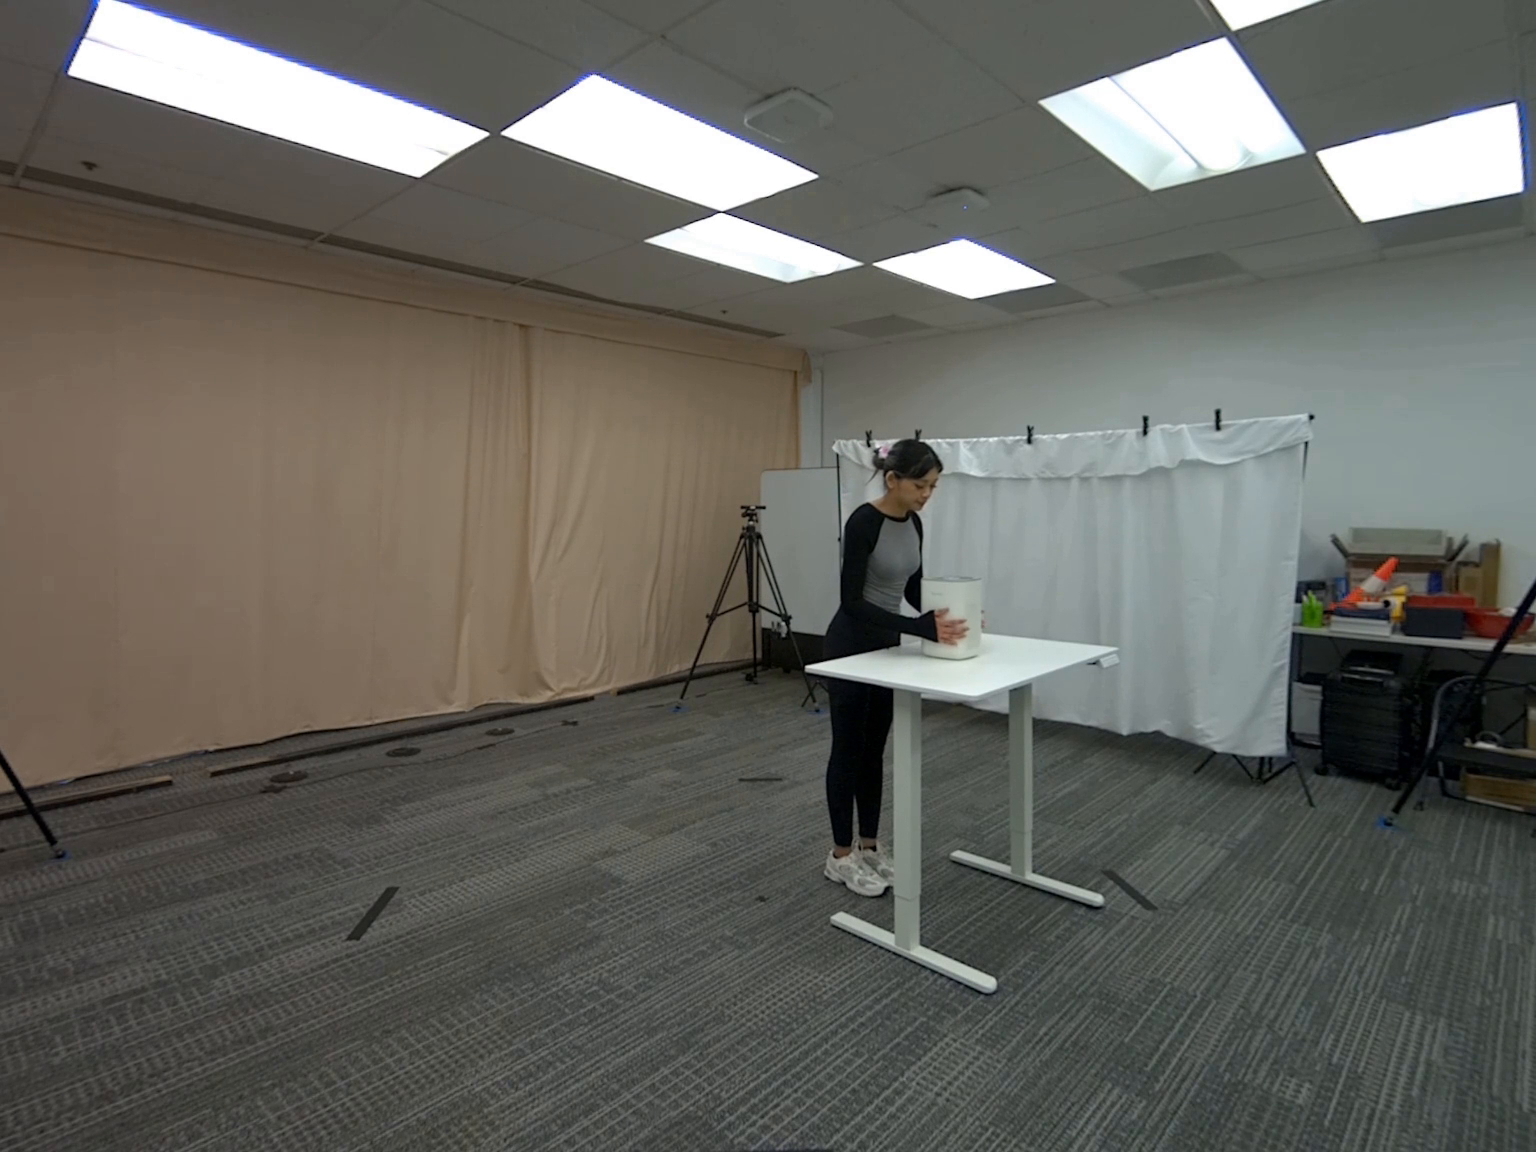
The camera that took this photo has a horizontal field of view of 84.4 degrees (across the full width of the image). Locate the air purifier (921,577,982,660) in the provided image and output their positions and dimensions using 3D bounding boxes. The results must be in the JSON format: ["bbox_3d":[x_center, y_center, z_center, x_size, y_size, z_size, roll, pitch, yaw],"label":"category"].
[{"bbox_3d":[0.623,0.141,2.838,0.176,0.265,0.166,1,4,43],"label":"air purifier"}]
